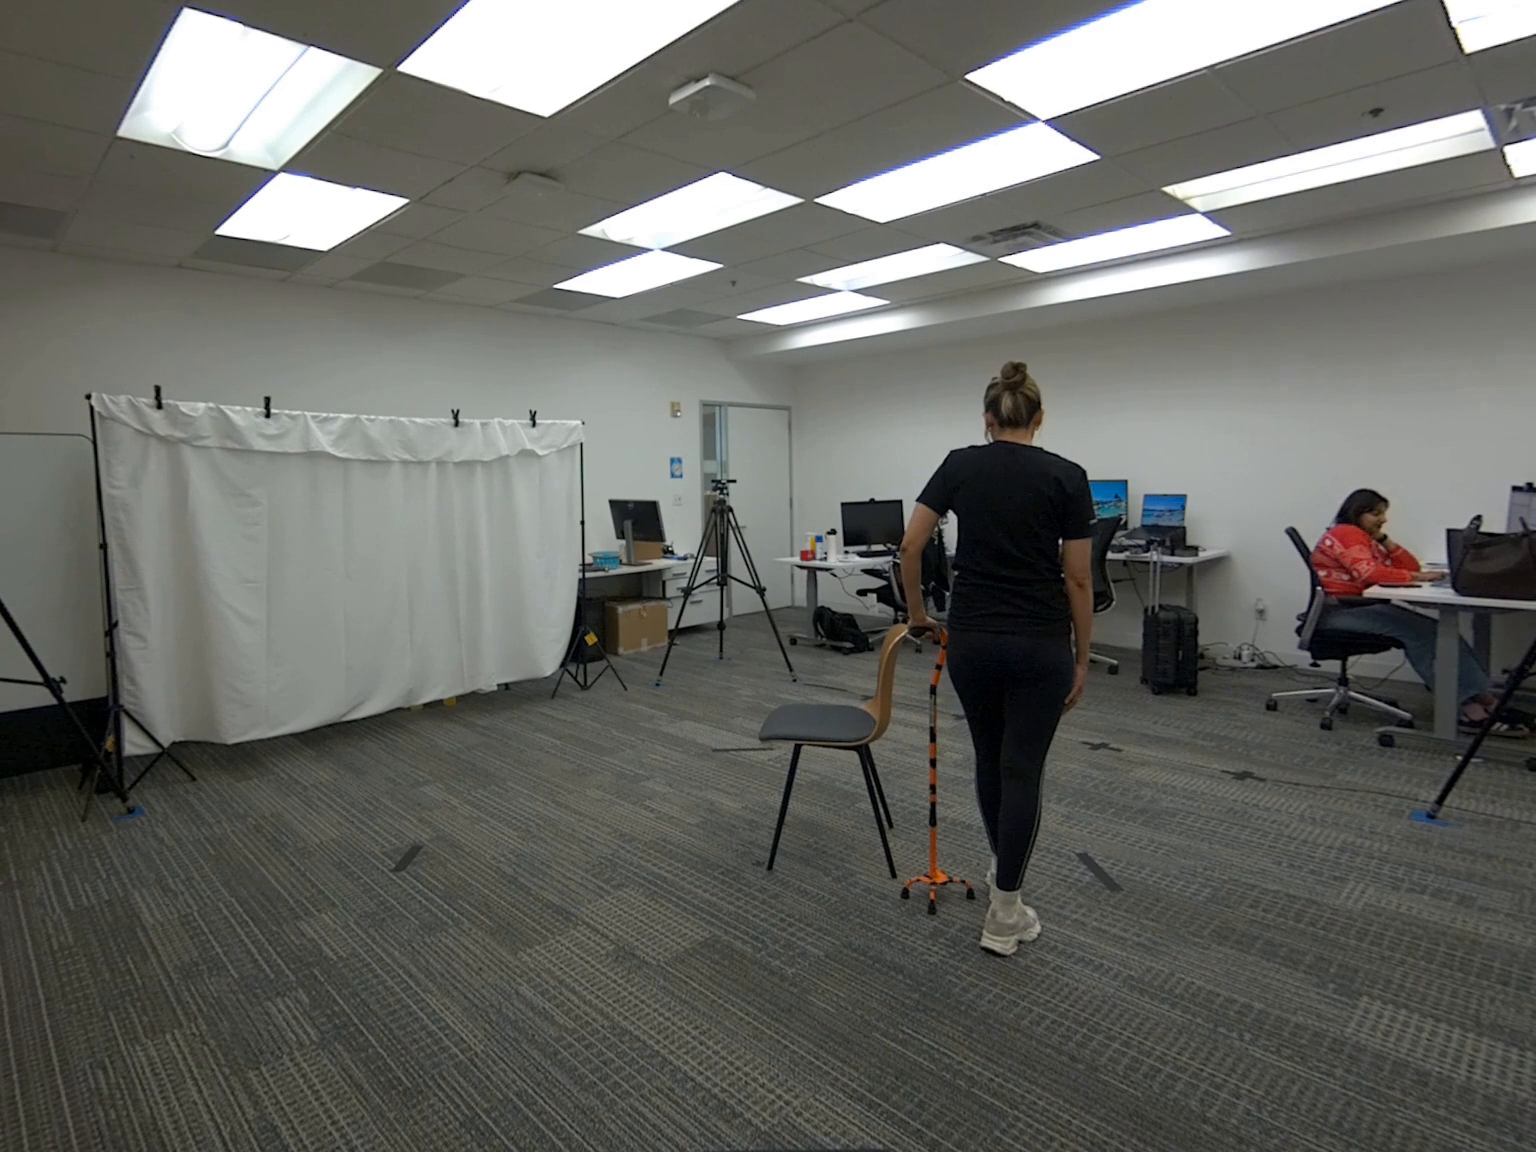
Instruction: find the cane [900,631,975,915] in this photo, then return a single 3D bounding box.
[{"bbox_3d":[0.562,0.610,2.812,0.201,0.906,0.156,-3,3,-37],"label":"cane"}]
